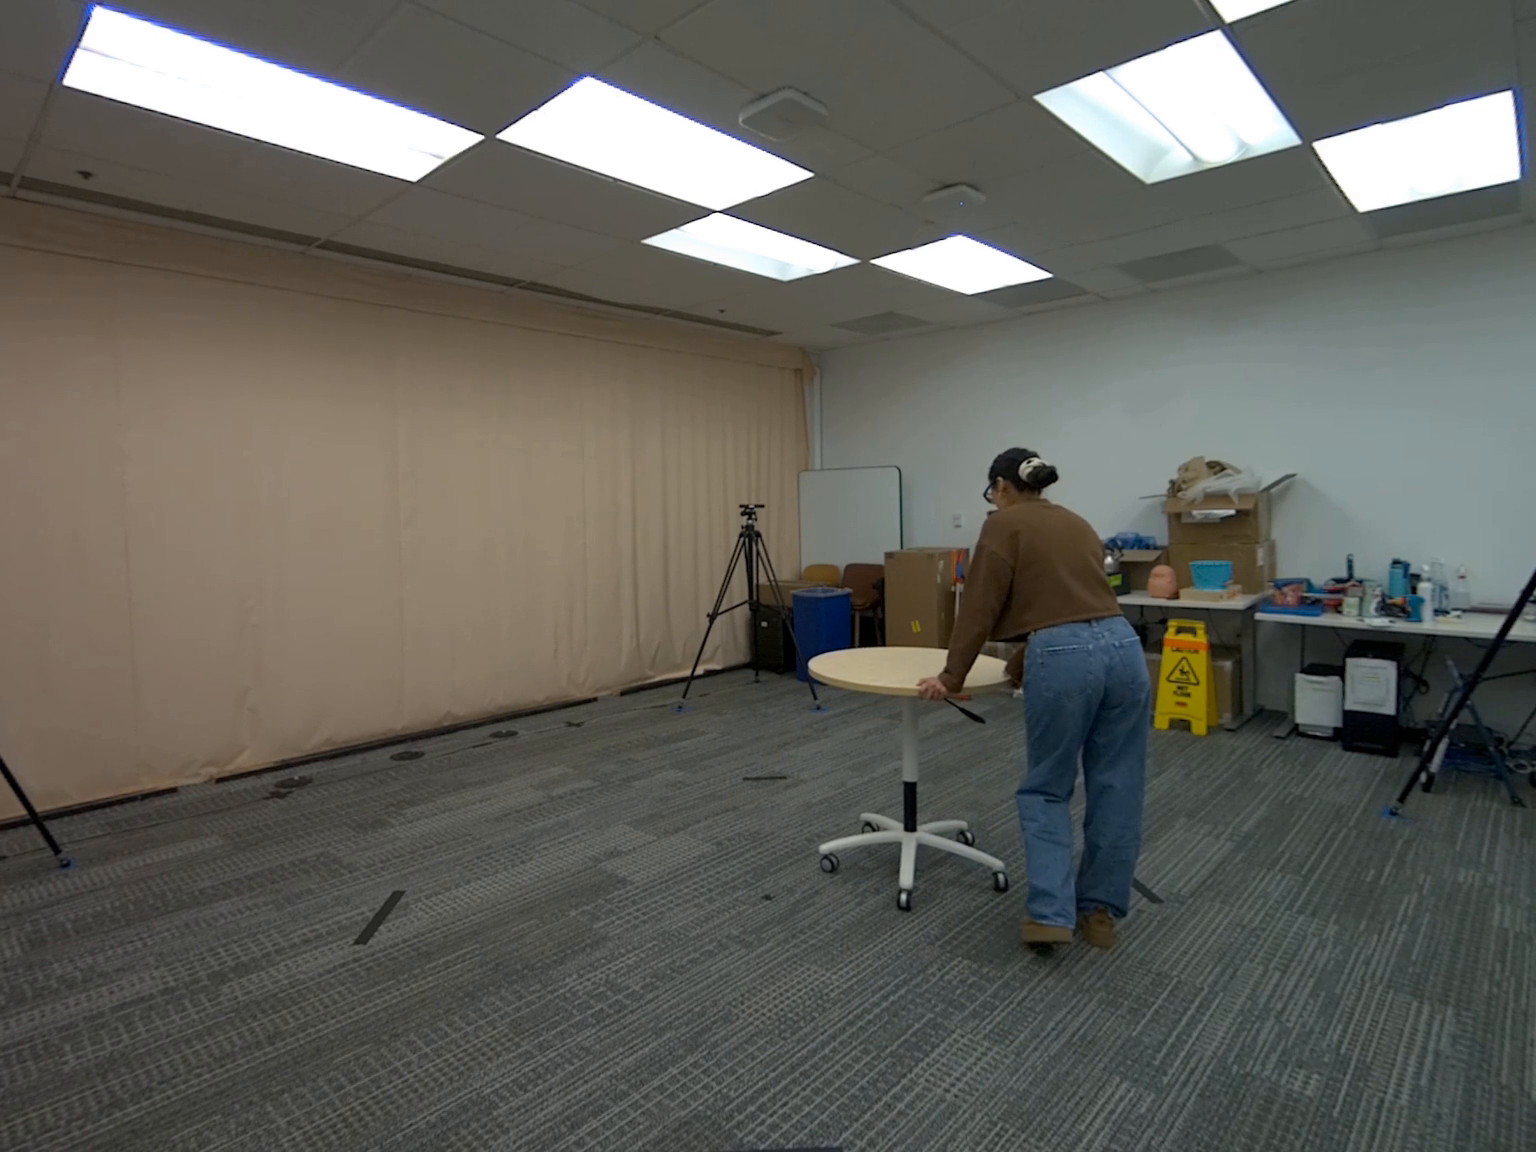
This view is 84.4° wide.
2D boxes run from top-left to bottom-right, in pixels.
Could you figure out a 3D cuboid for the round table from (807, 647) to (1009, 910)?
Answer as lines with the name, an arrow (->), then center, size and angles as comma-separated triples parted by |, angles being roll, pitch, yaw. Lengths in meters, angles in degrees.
round table -> 0.547, 0.728, 3.192 | 0.763, 0.792, 0.767 | -1, 4, -2
